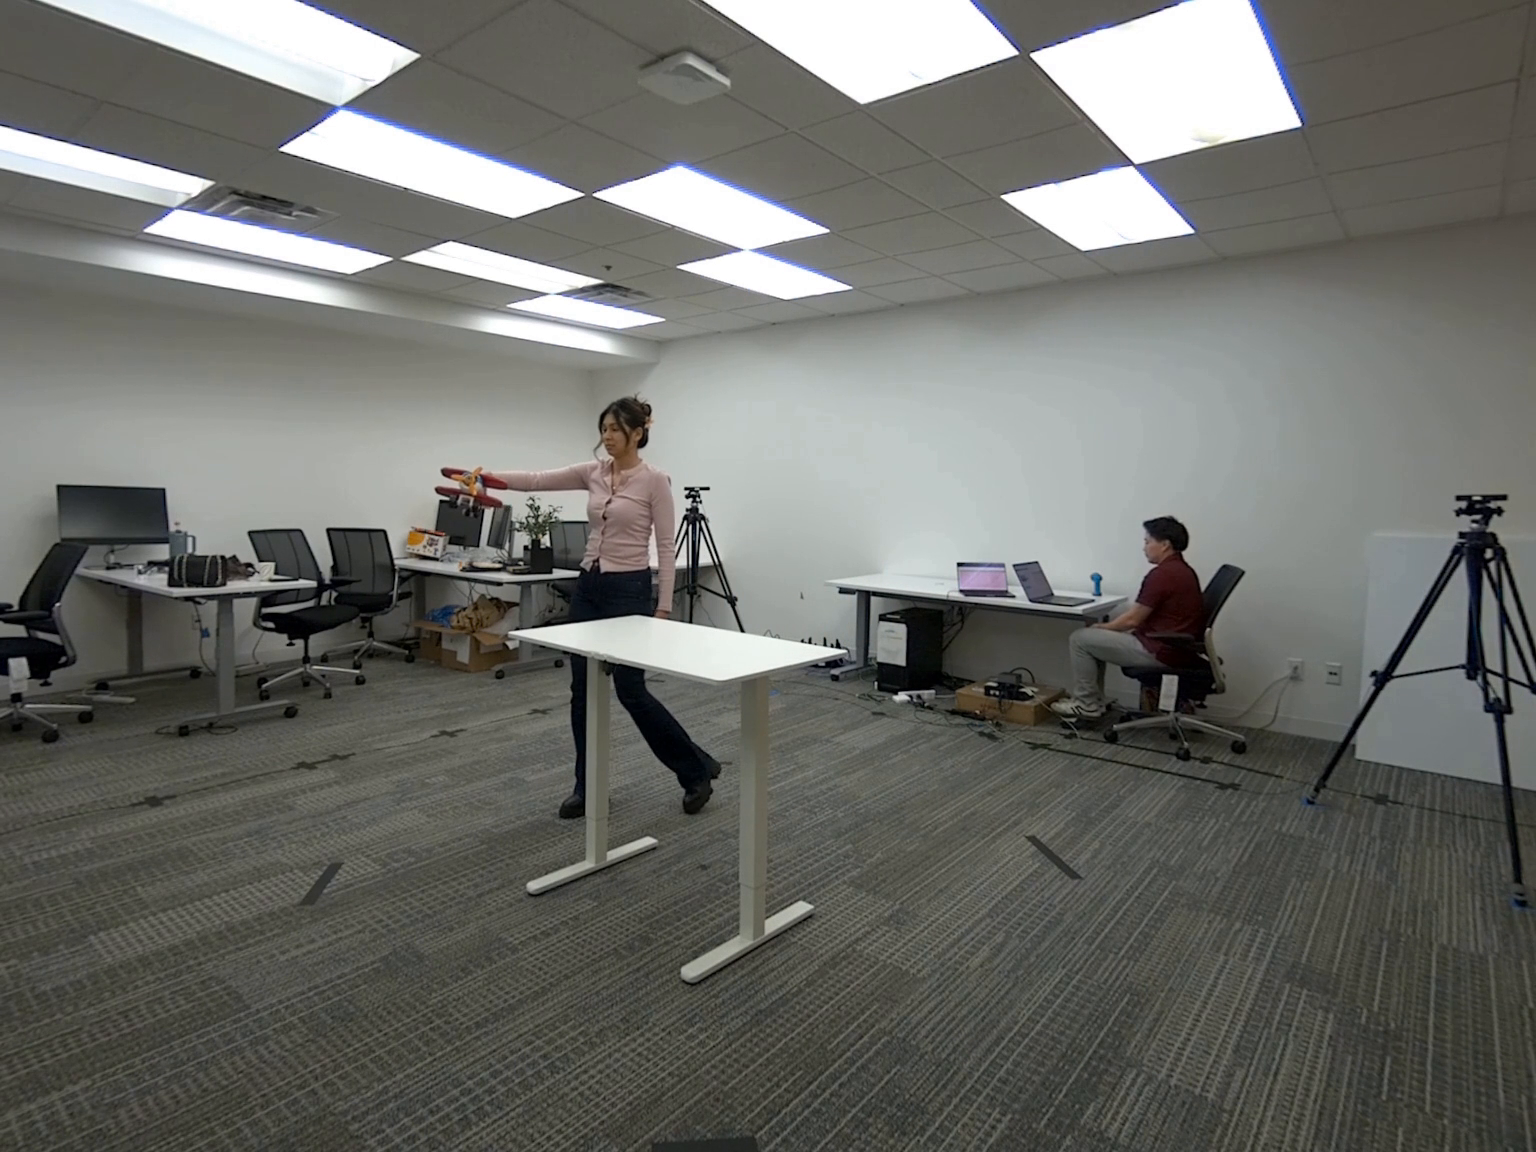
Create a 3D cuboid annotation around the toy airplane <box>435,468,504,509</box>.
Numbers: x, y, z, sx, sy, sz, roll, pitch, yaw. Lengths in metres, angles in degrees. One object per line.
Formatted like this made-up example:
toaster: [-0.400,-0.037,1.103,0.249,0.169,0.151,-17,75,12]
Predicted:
toy airplane: [-1.165,-0.317,3.257,0.242,0.157,0.267,17,-8,-34]
